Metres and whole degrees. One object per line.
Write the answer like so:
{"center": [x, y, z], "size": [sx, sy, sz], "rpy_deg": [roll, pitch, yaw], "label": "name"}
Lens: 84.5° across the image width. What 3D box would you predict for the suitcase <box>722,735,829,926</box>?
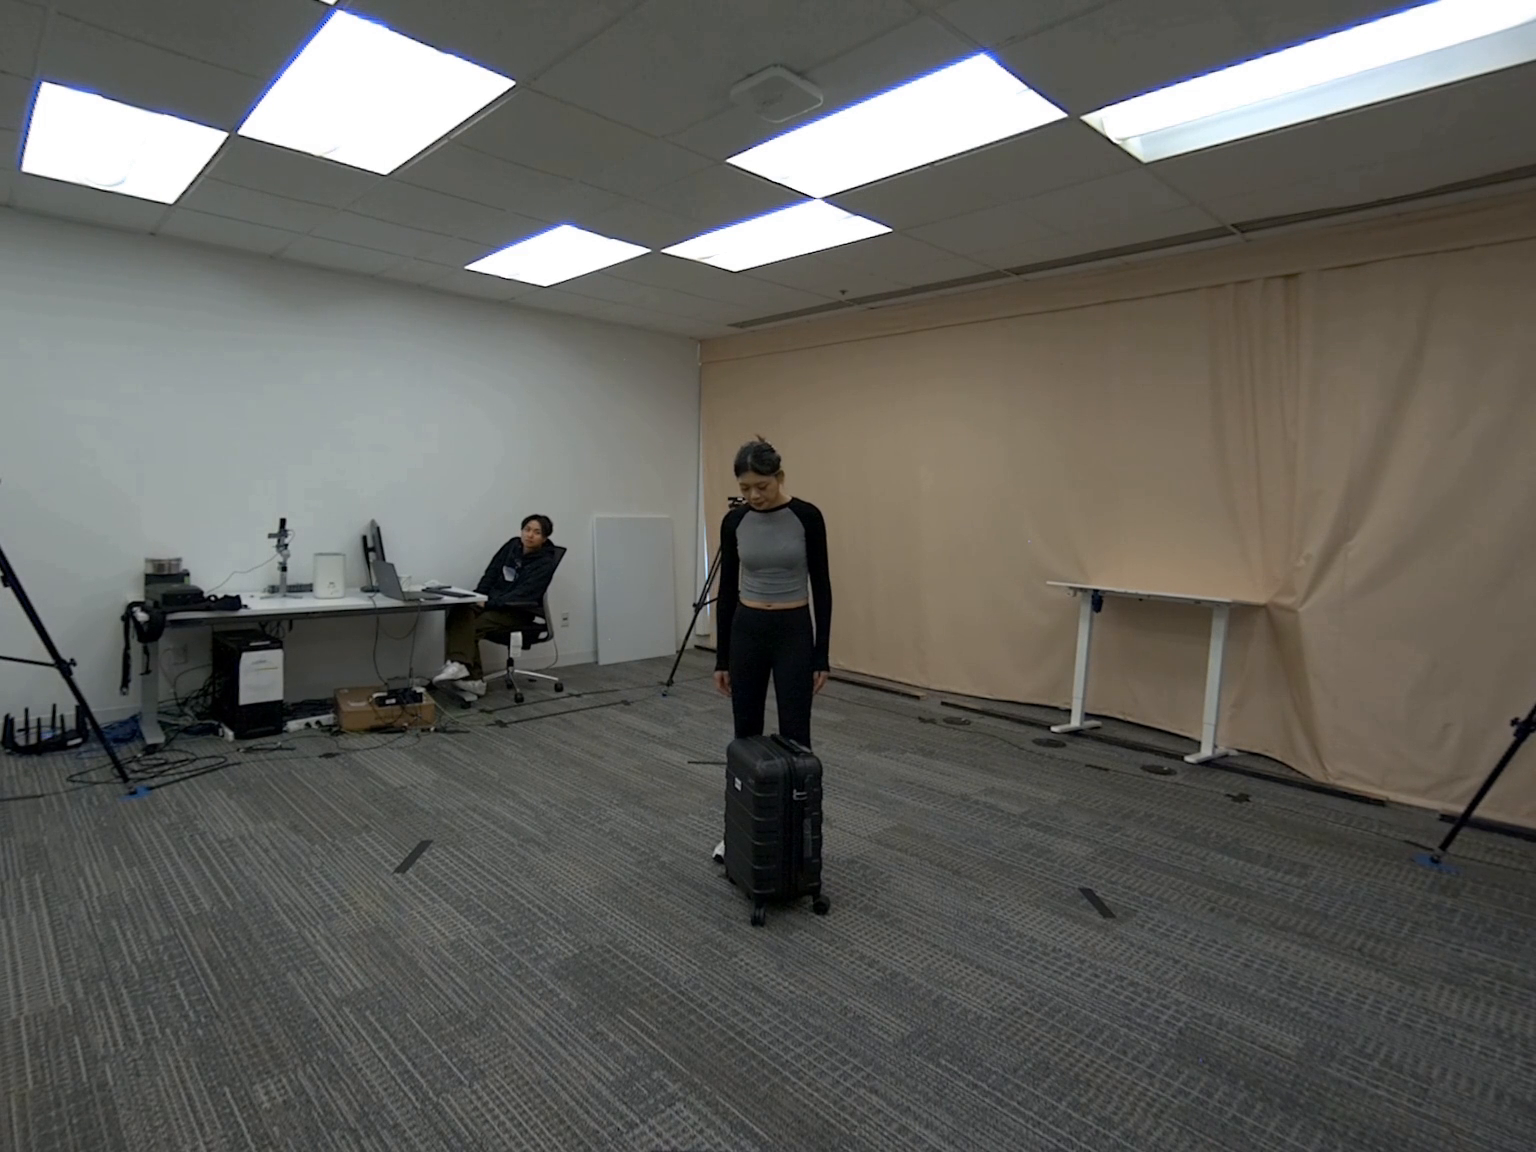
{"center": [0.005, 0.847, 2.929], "size": [0.244, 0.548, 0.382], "rpy_deg": [0, 4, -21], "label": "suitcase"}
